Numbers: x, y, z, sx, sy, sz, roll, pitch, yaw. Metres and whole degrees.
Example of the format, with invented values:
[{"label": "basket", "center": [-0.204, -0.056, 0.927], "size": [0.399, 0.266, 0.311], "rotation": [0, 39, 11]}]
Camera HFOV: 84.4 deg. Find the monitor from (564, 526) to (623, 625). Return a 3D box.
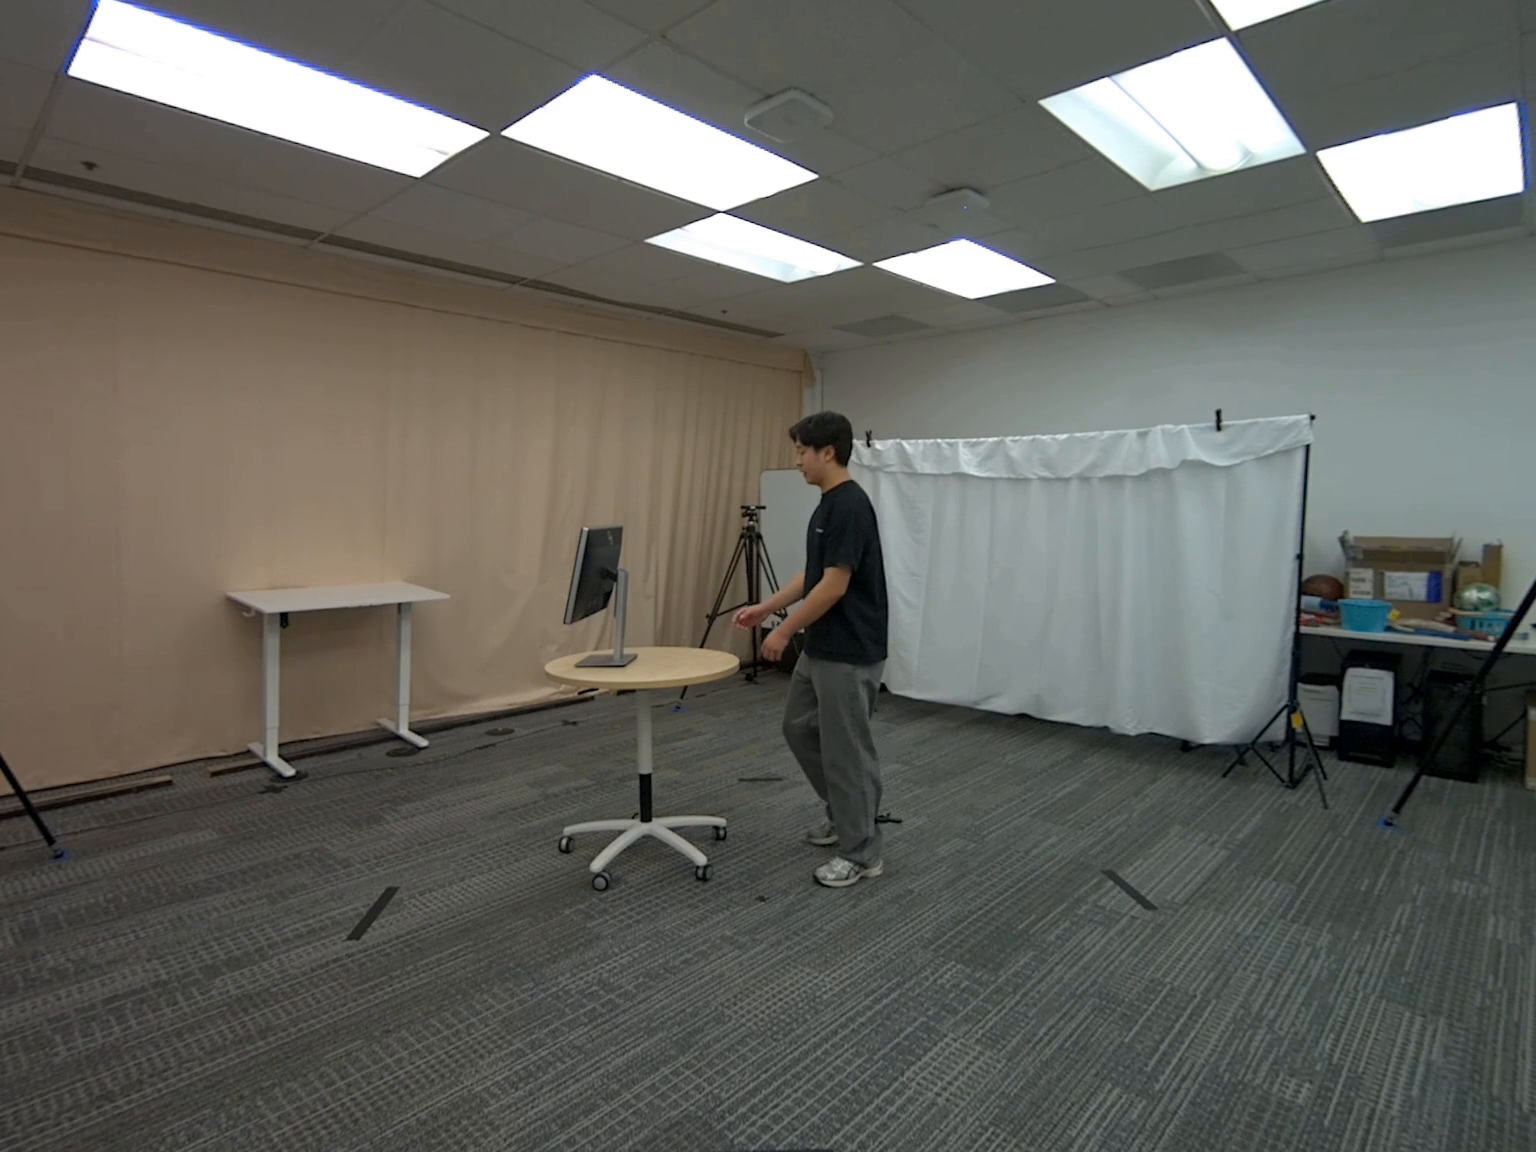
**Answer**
[{"label": "monitor", "center": [-0.657, 0.085, 3.346], "size": [0.224, 0.565, 0.558], "rotation": [-3, 3, 7]}]
